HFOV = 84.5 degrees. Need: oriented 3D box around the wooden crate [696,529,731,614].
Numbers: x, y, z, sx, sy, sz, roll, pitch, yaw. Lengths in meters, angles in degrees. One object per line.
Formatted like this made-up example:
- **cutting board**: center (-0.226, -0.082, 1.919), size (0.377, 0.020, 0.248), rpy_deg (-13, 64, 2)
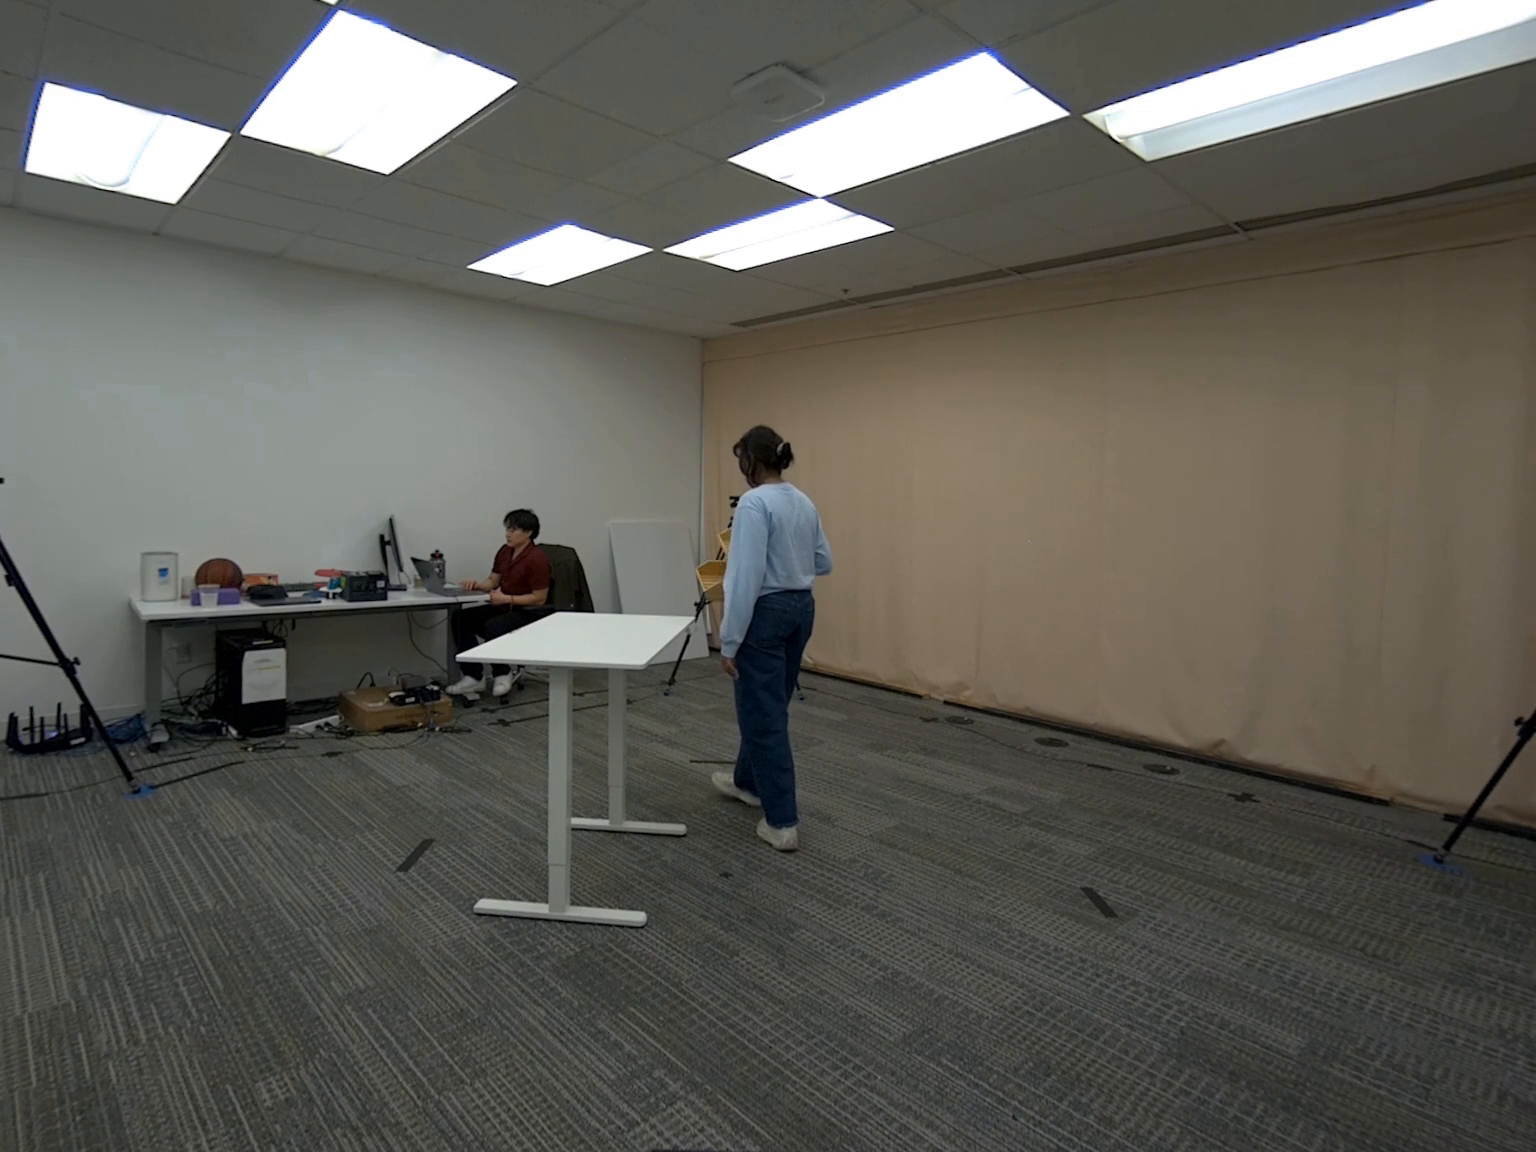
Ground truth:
- **wooden crate**: center (-0.167, -0.063, 3.870), size (0.300, 0.270, 0.331), rpy_deg (3, 18, -10)
